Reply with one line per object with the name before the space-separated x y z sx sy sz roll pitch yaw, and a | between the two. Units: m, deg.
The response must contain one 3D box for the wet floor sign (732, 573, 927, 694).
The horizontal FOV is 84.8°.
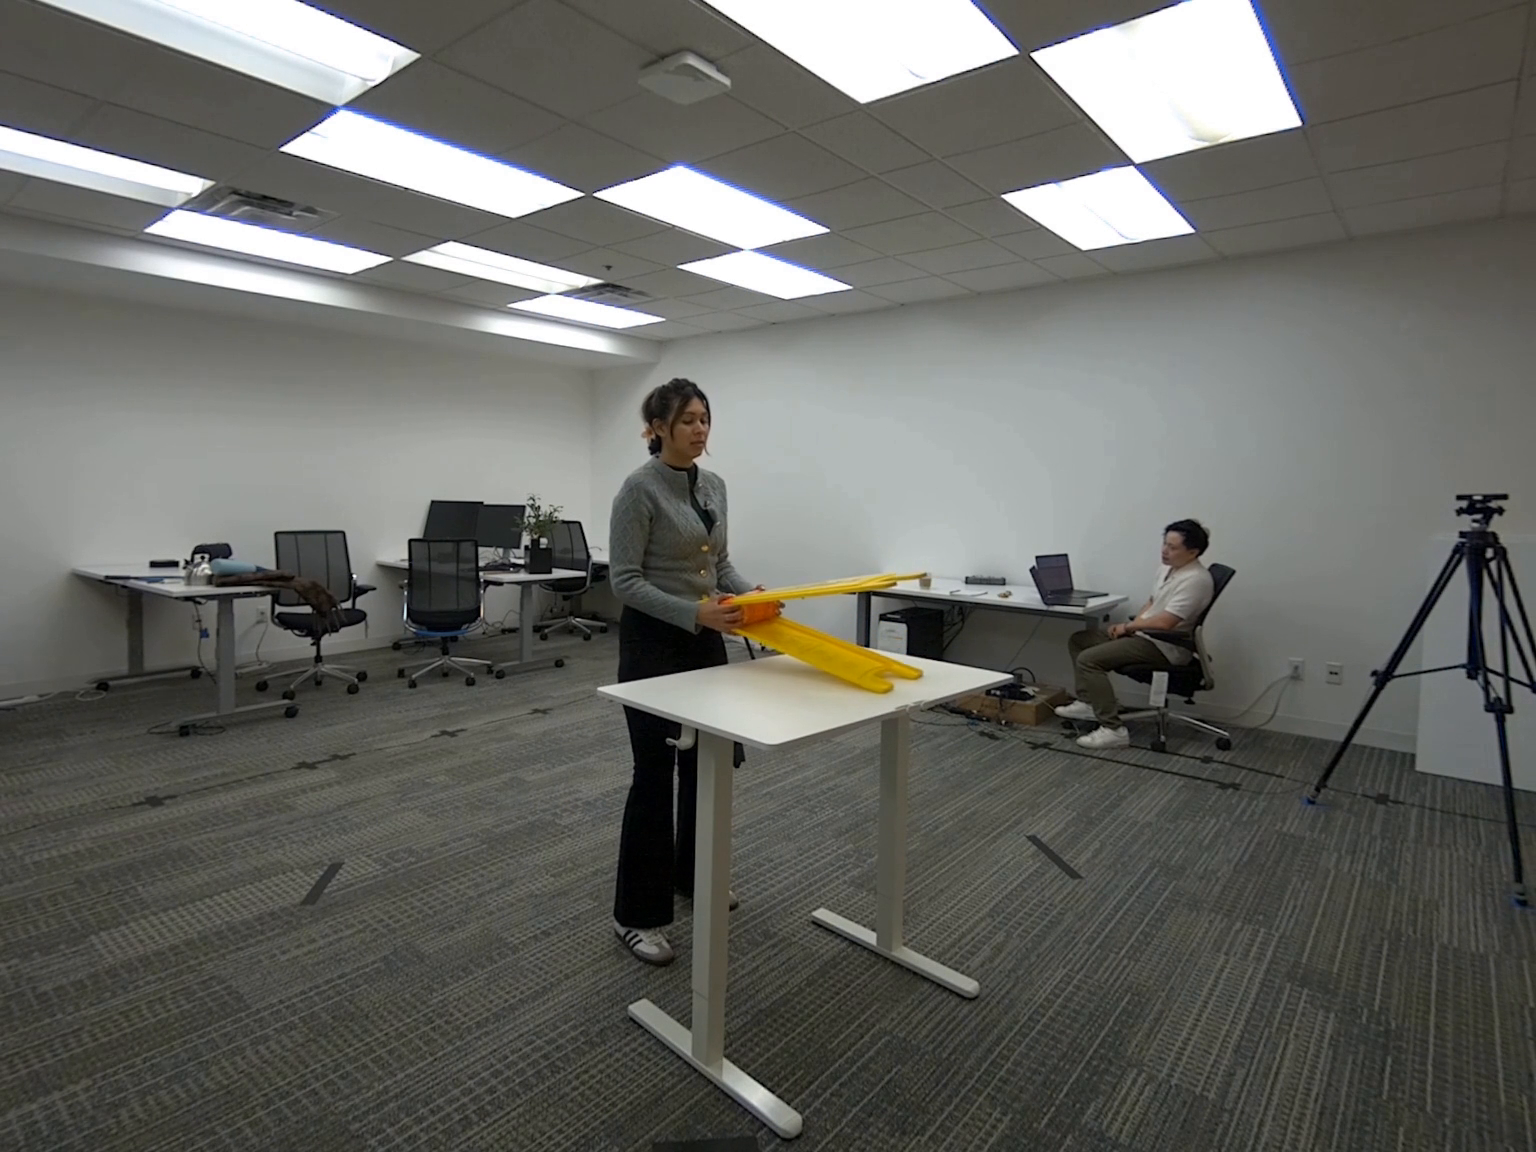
wet floor sign | 0.087 0.111 2.418 0.667 0.288 0.275 7 8 33
